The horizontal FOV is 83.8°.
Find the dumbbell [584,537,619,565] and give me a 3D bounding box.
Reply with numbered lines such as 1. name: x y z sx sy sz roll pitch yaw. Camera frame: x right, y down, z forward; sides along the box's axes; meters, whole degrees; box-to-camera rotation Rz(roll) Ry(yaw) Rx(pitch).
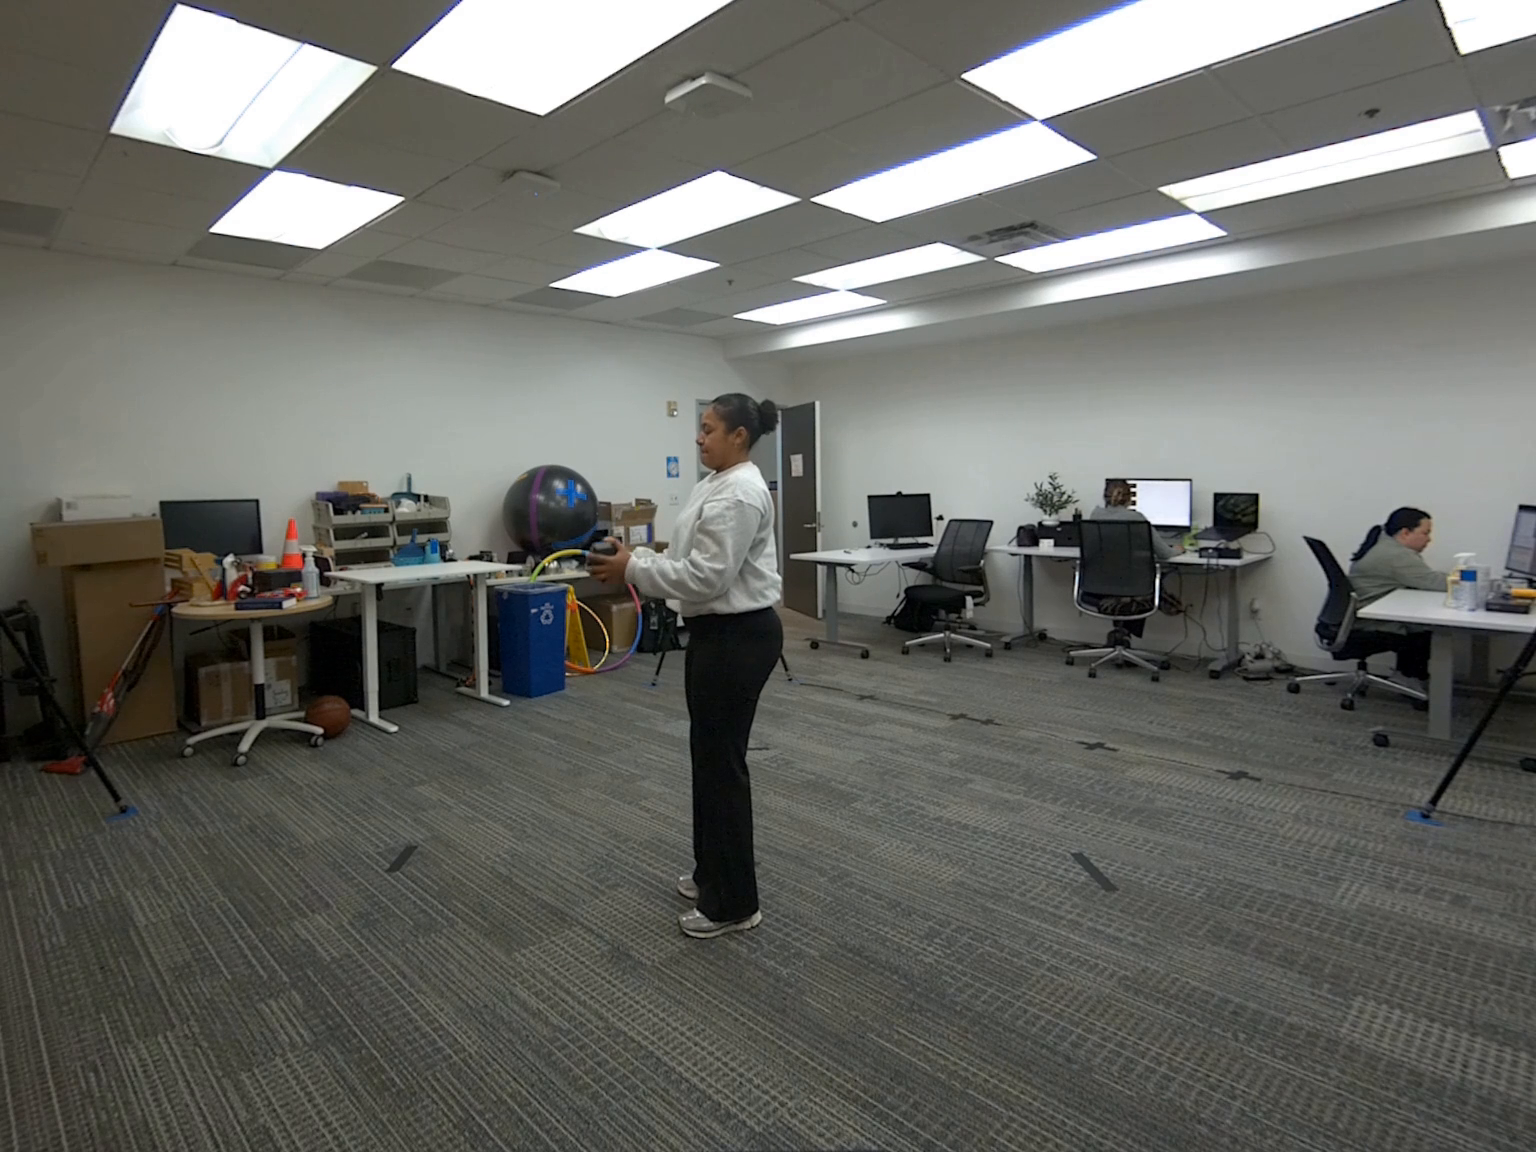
1. dumbbell: -0.485 -0.051 2.692 0.108 0.122 0.297 -37 9 -4
